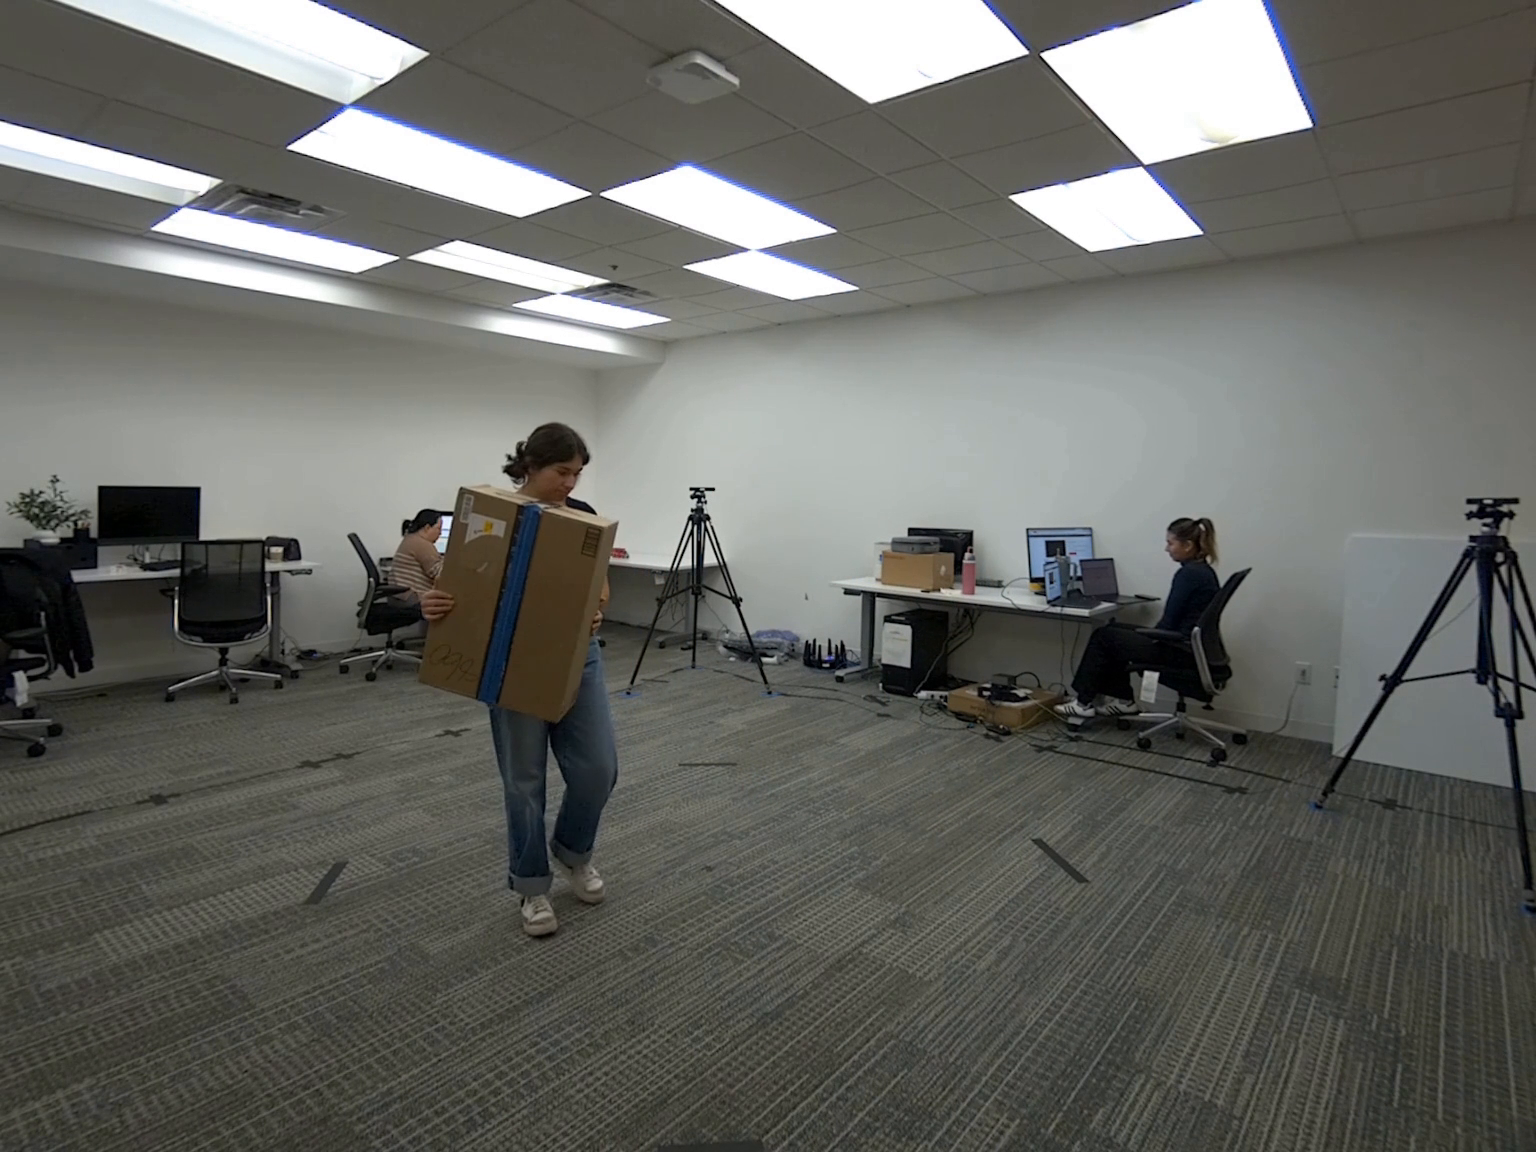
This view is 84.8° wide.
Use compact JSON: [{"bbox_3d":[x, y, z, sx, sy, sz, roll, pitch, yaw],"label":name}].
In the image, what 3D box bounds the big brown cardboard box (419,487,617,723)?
[{"bbox_3d":[-0.716,0.059,2.430,0.420,0.586,0.233,14,7,4],"label":"big brown cardboard box"}]
